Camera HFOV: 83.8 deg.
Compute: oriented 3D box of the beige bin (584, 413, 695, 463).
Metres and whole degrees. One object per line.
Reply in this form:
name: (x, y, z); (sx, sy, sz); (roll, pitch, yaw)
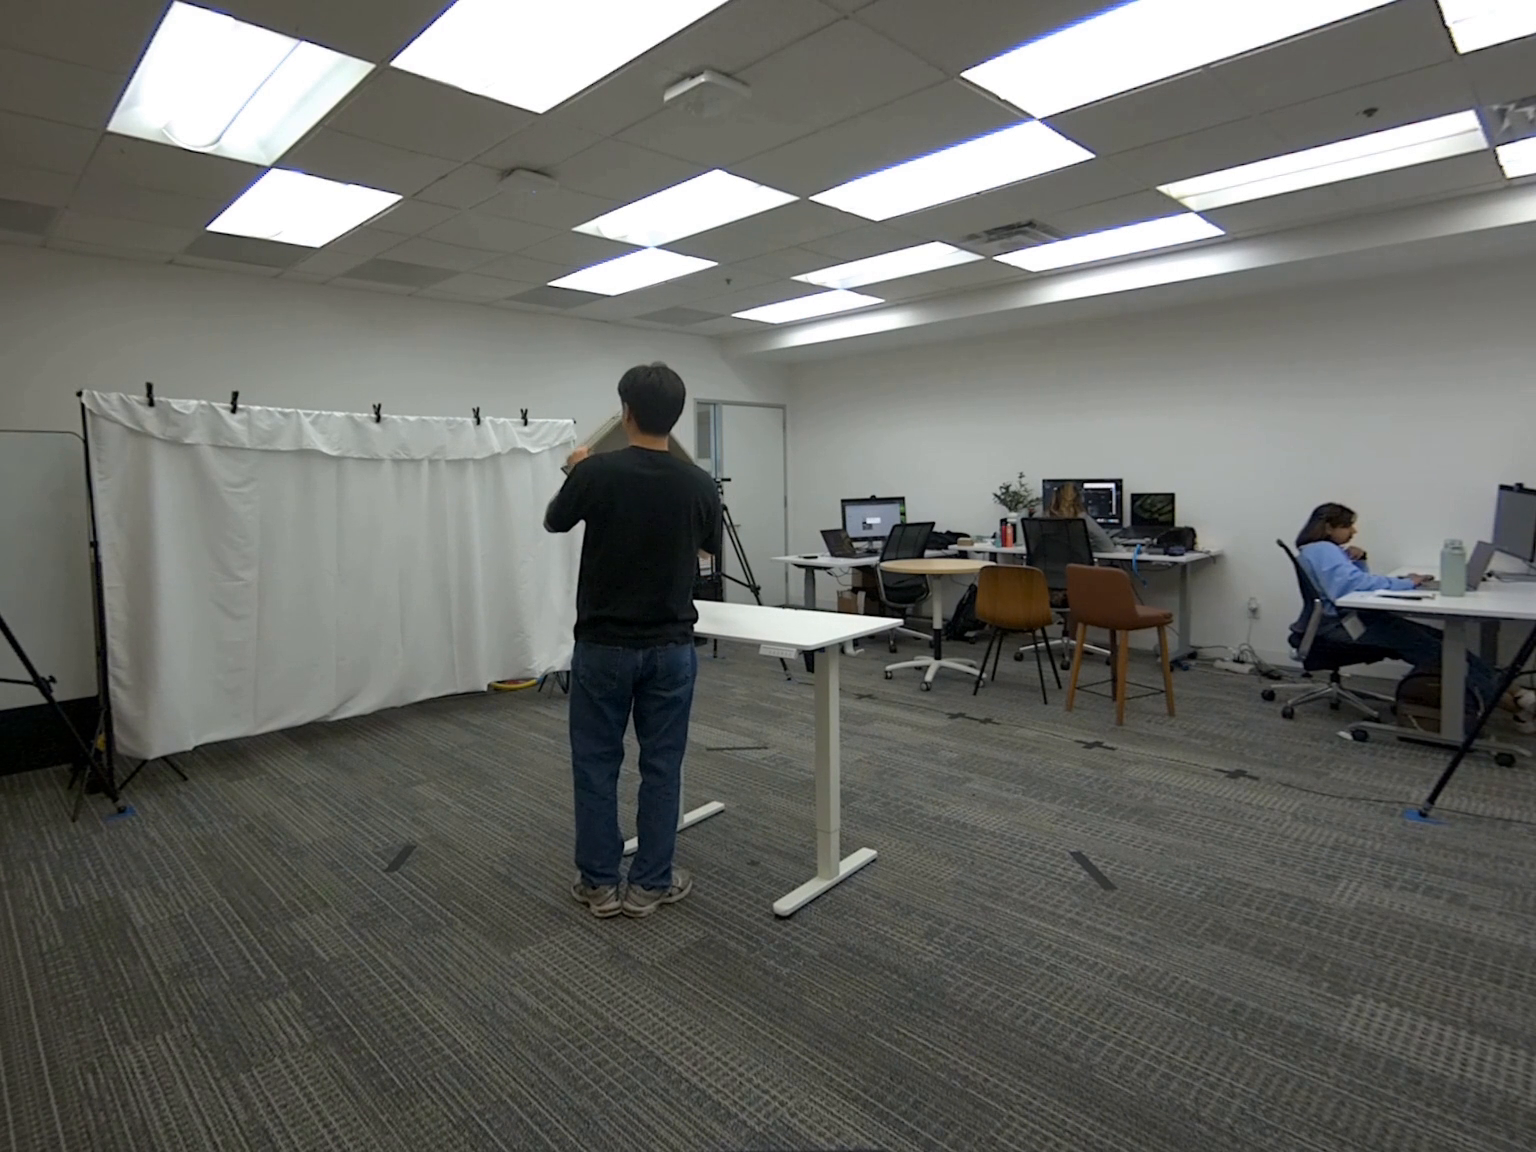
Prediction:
beige bin: (-0.489, -0.383, 3.201); (0.377, 0.411, 0.194); (-47, 24, -14)
